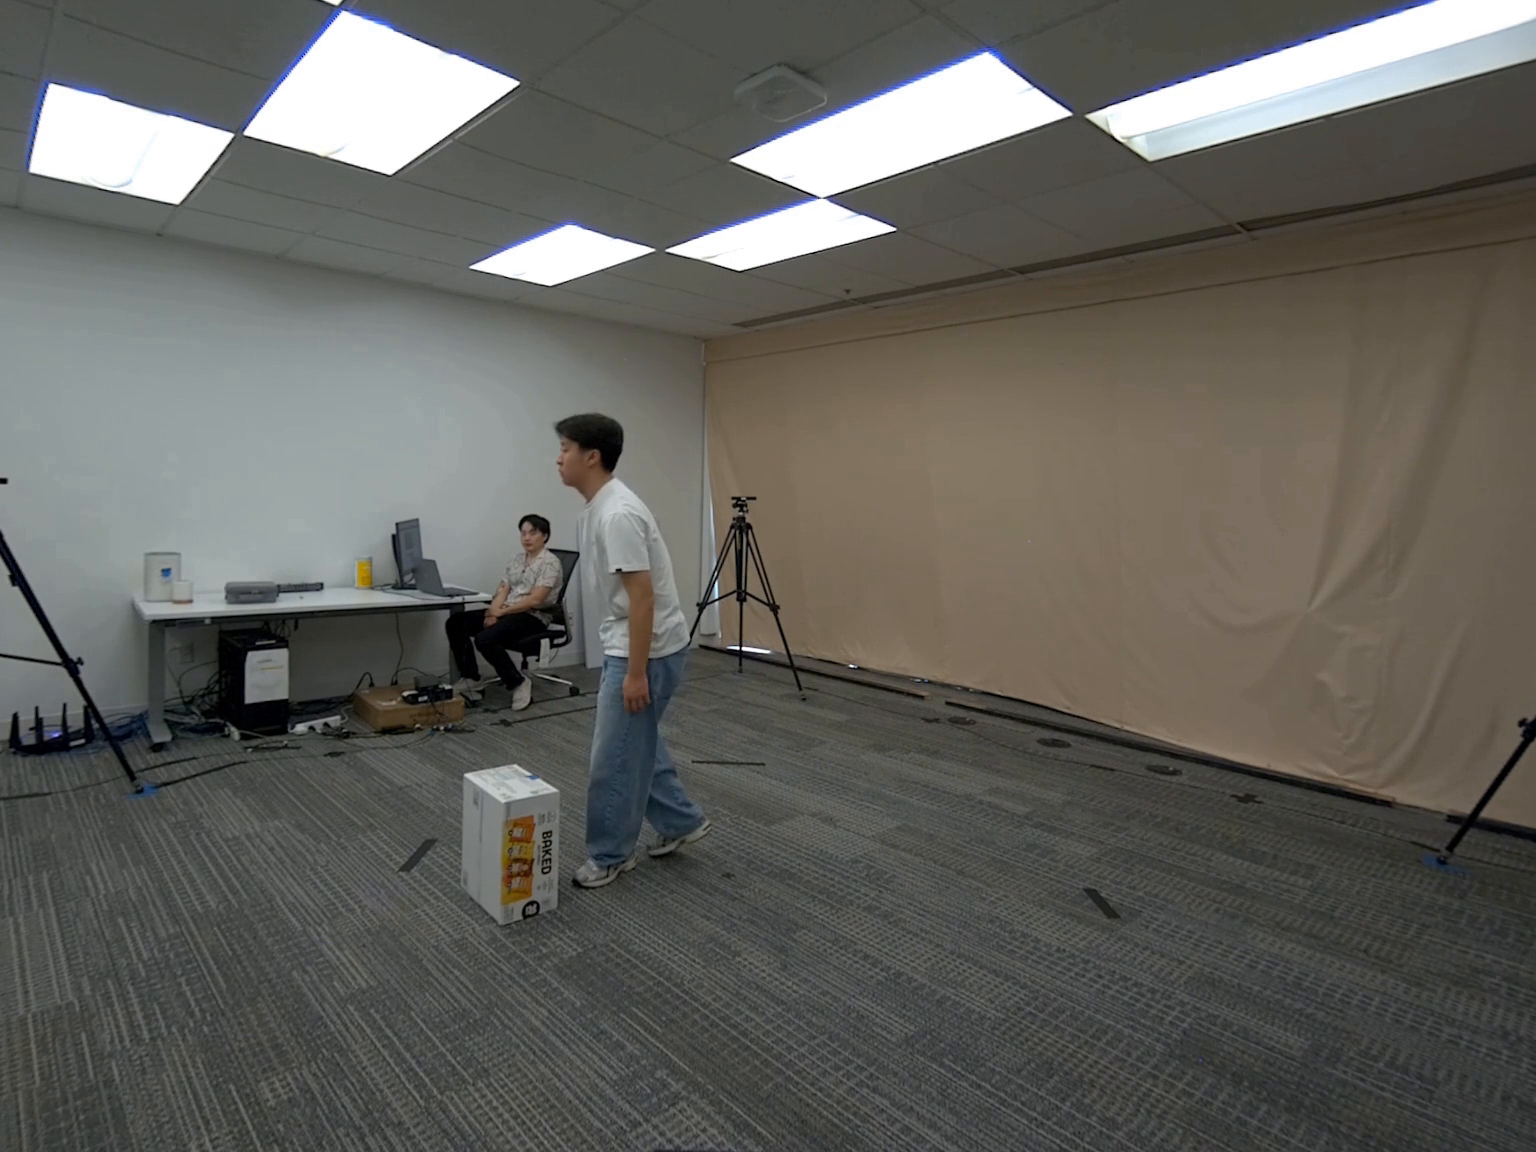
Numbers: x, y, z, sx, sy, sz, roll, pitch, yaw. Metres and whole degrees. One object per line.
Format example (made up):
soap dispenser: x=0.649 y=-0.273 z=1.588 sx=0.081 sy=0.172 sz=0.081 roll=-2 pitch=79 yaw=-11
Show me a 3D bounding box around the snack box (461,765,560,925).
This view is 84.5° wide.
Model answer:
snack box: x=-0.892 y=0.909 z=2.881 sx=0.201 sy=0.404 sz=0.349 roll=-1 pitch=5 yaw=-40
